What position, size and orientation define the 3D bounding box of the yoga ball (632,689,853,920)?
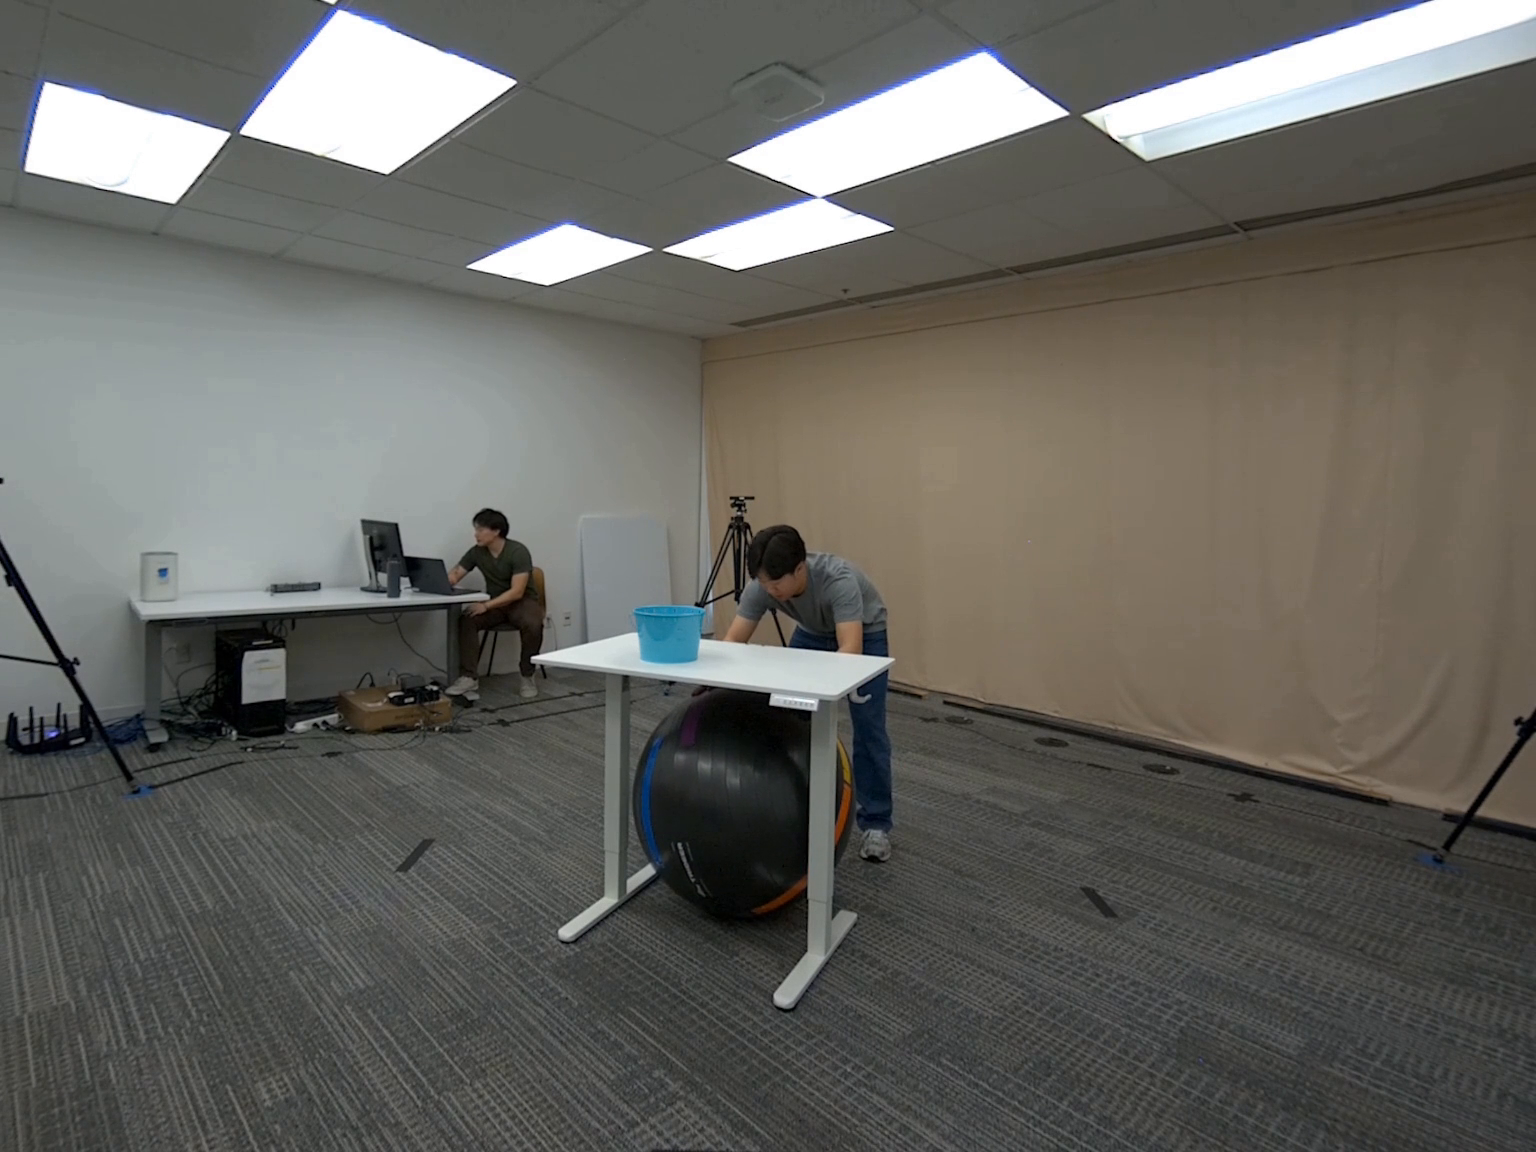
[{"bbox_3d":[-0.084,0.754,2.874,0.757,0.756,0.761,1,4,-1],"label":"yoga ball"}]
